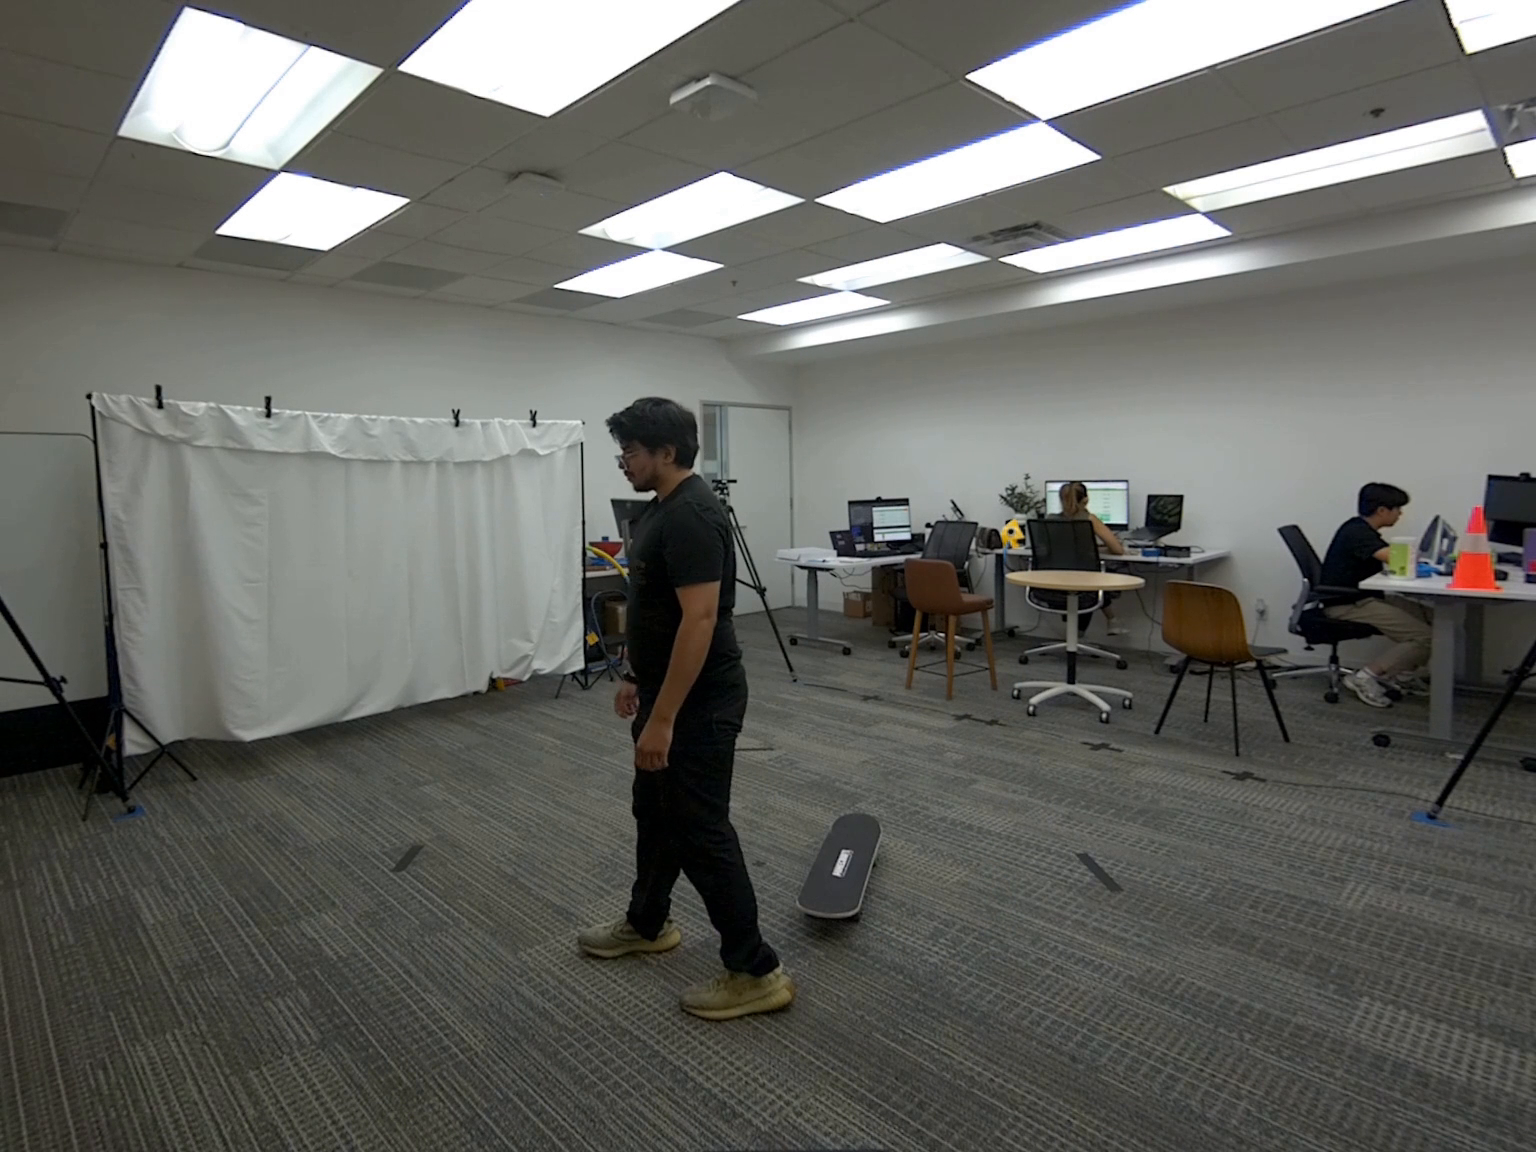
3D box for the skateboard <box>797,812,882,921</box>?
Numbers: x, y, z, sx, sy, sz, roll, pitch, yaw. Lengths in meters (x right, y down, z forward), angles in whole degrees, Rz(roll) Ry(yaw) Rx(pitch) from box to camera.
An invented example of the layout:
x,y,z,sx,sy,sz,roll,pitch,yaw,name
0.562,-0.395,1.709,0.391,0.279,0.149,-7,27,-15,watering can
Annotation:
x,y,z,sx,sy,sz,roll,pitch,yaw,name
0.259,1.006,2.910,0.196,0.110,0.778,0,7,14,skateboard
